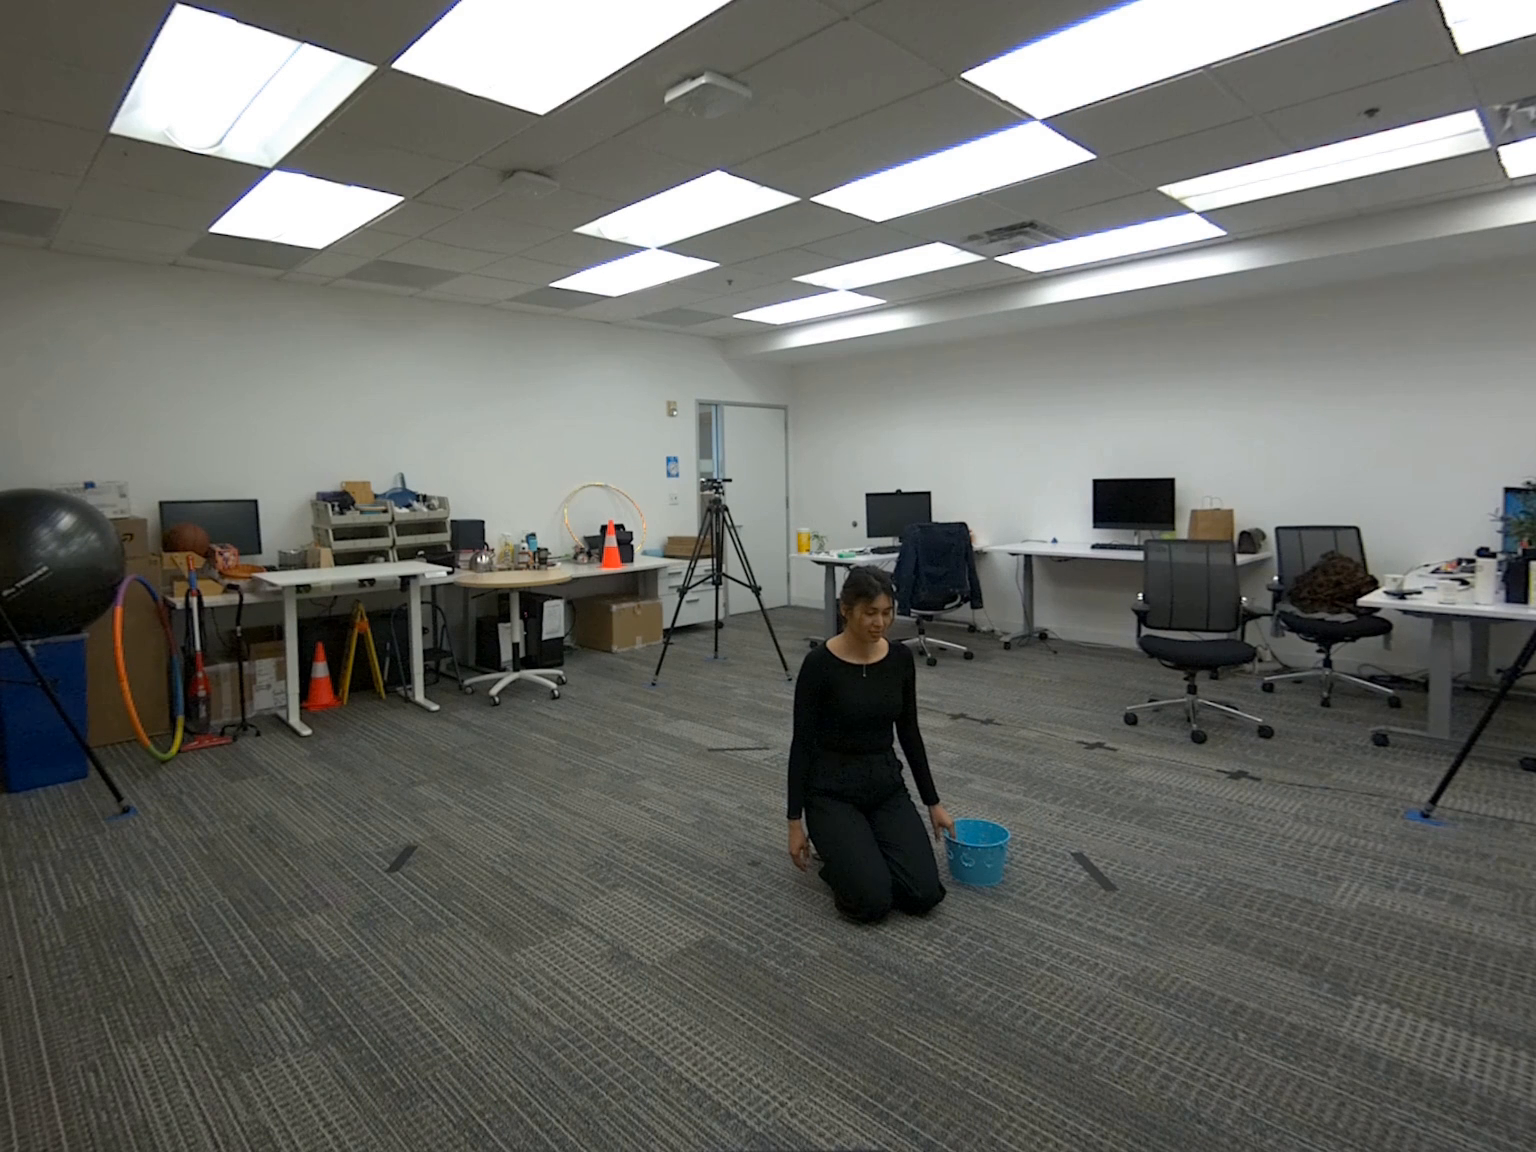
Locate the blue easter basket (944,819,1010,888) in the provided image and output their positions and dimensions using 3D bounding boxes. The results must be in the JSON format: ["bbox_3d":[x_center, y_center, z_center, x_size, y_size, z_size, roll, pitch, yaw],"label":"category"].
[{"bbox_3d":[0.730,0.960,2.983,0.243,0.155,0.245,-1,7,-2],"label":"blue easter basket"}]
